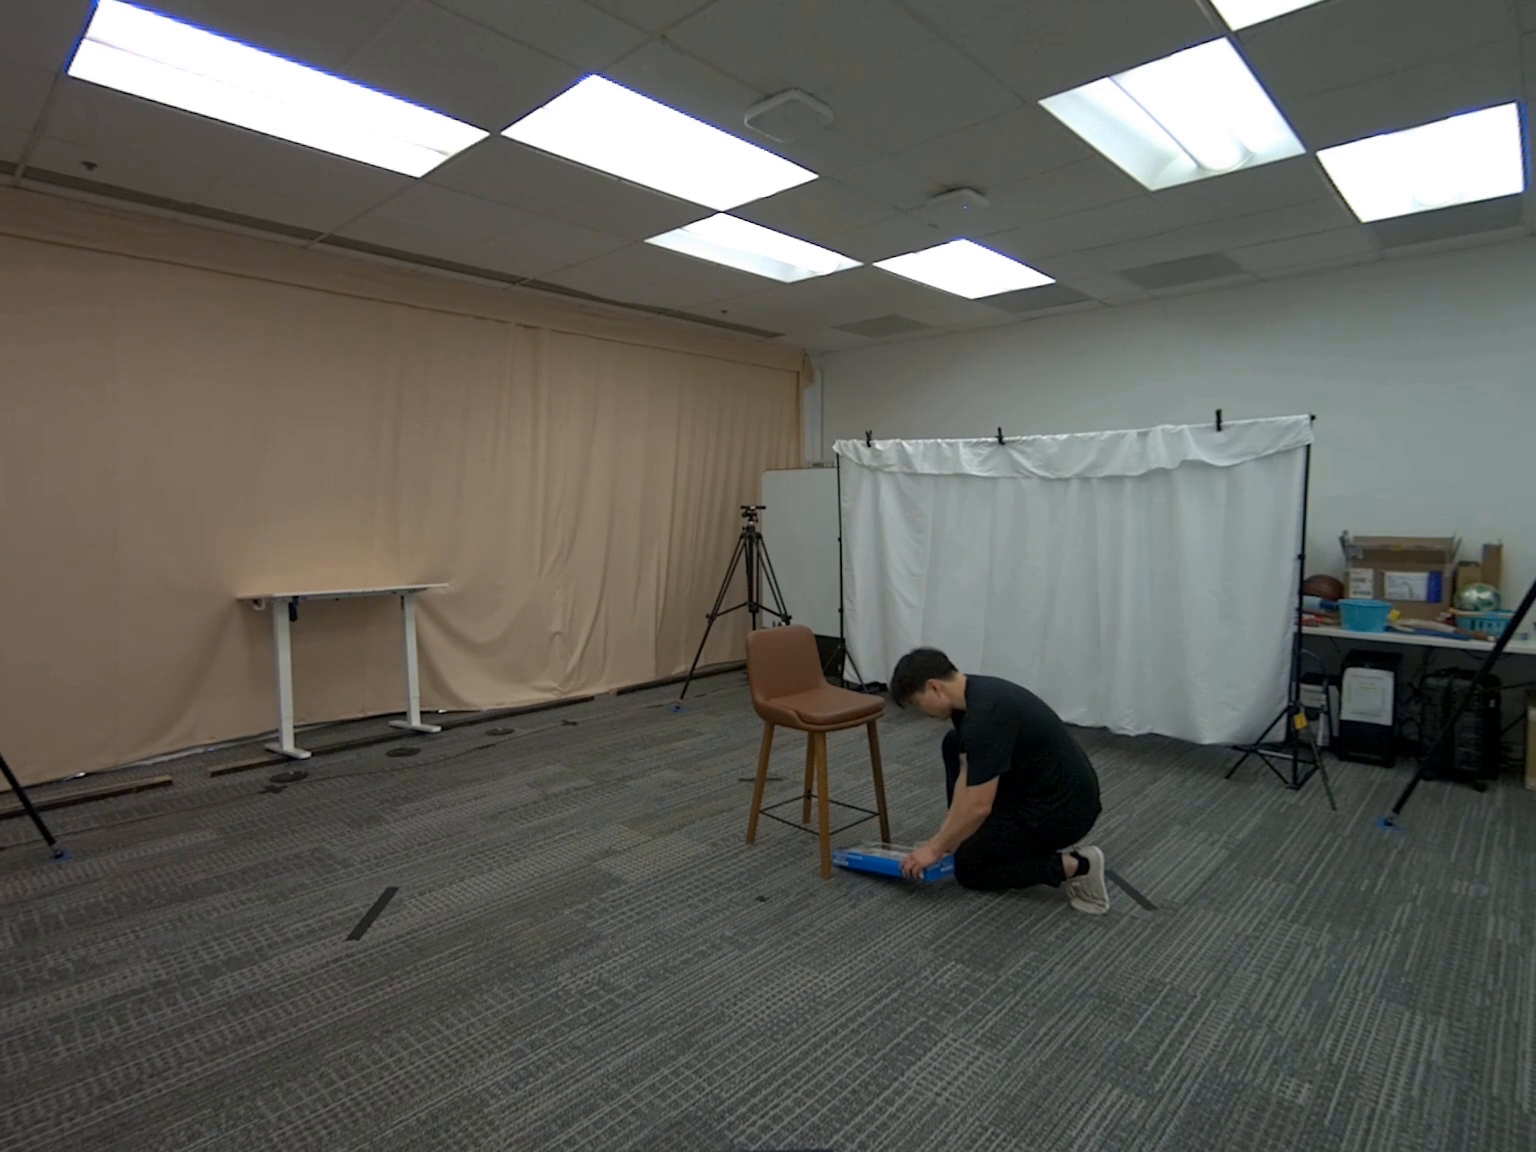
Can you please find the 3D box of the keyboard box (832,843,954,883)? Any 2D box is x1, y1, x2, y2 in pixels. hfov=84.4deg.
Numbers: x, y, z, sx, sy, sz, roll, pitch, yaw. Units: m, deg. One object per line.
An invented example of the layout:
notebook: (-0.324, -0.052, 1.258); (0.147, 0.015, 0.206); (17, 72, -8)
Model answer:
keyboard box: (0.463, 1.061, 3.146); (0.170, 0.059, 0.449); (0, -6, -43)
